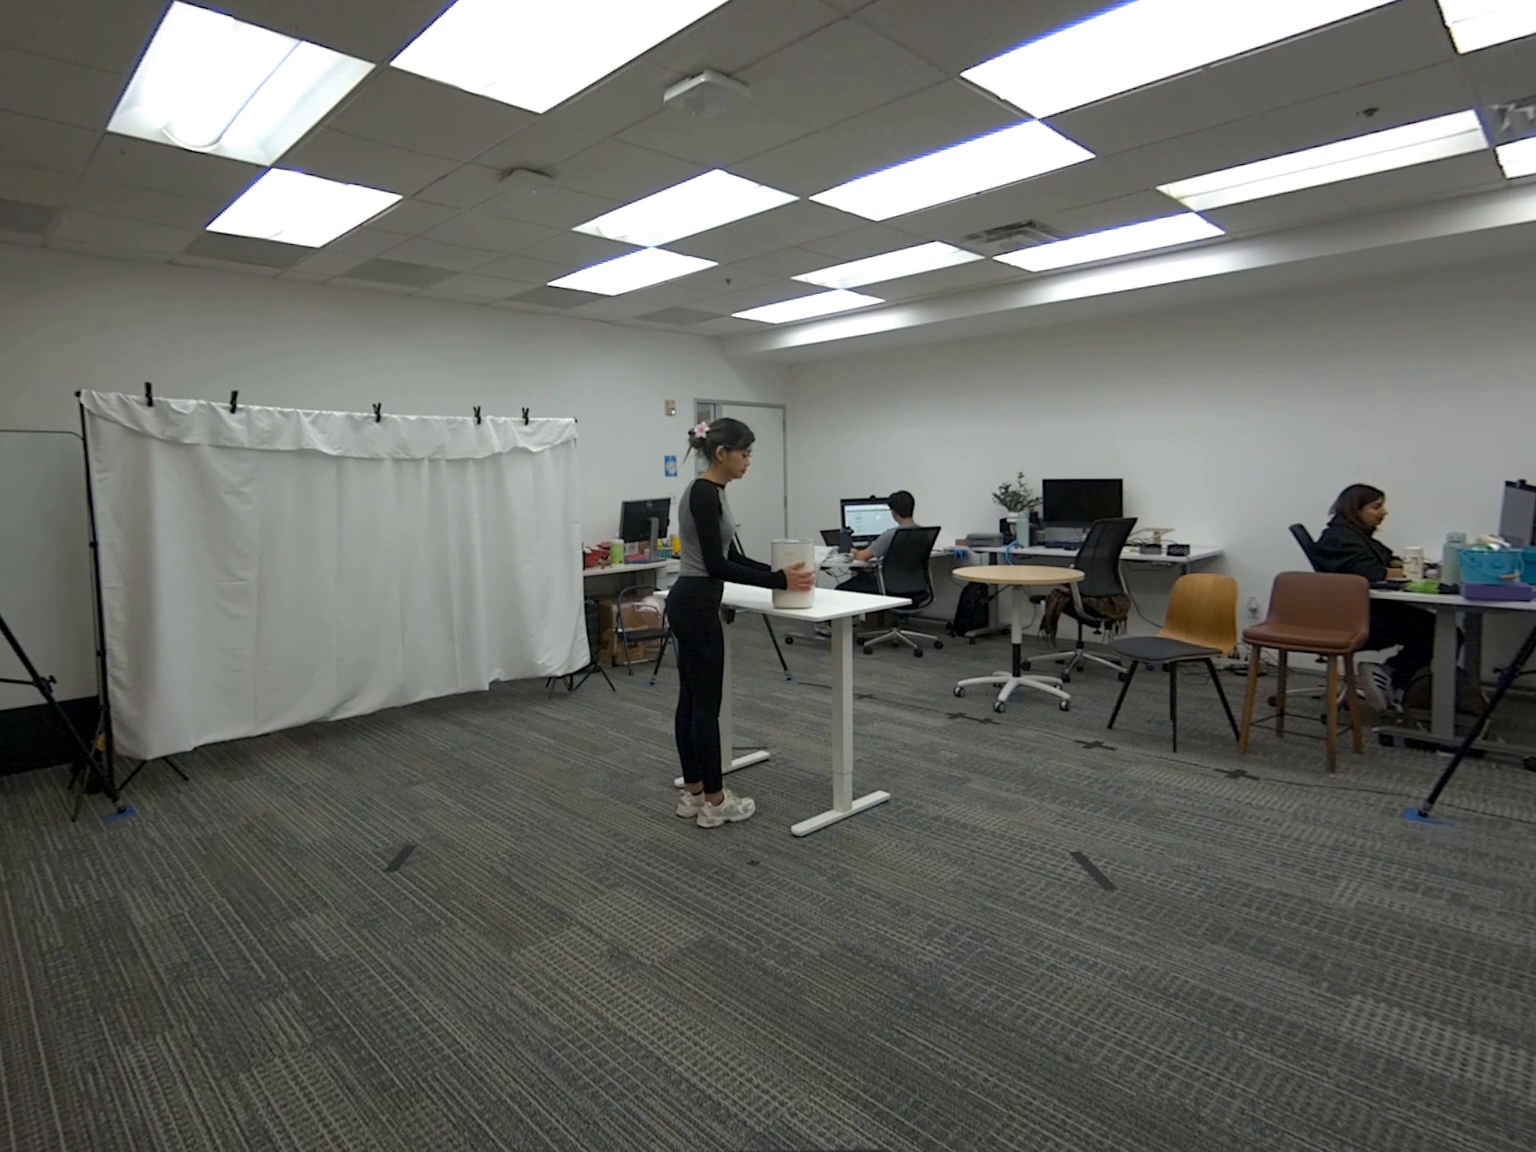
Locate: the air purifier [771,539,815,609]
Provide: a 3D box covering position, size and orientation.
[{"bbox_3d":[0.096,-0.008,3.428,0.173,0.264,0.171,0,5,8],"label":"air purifier"}]
